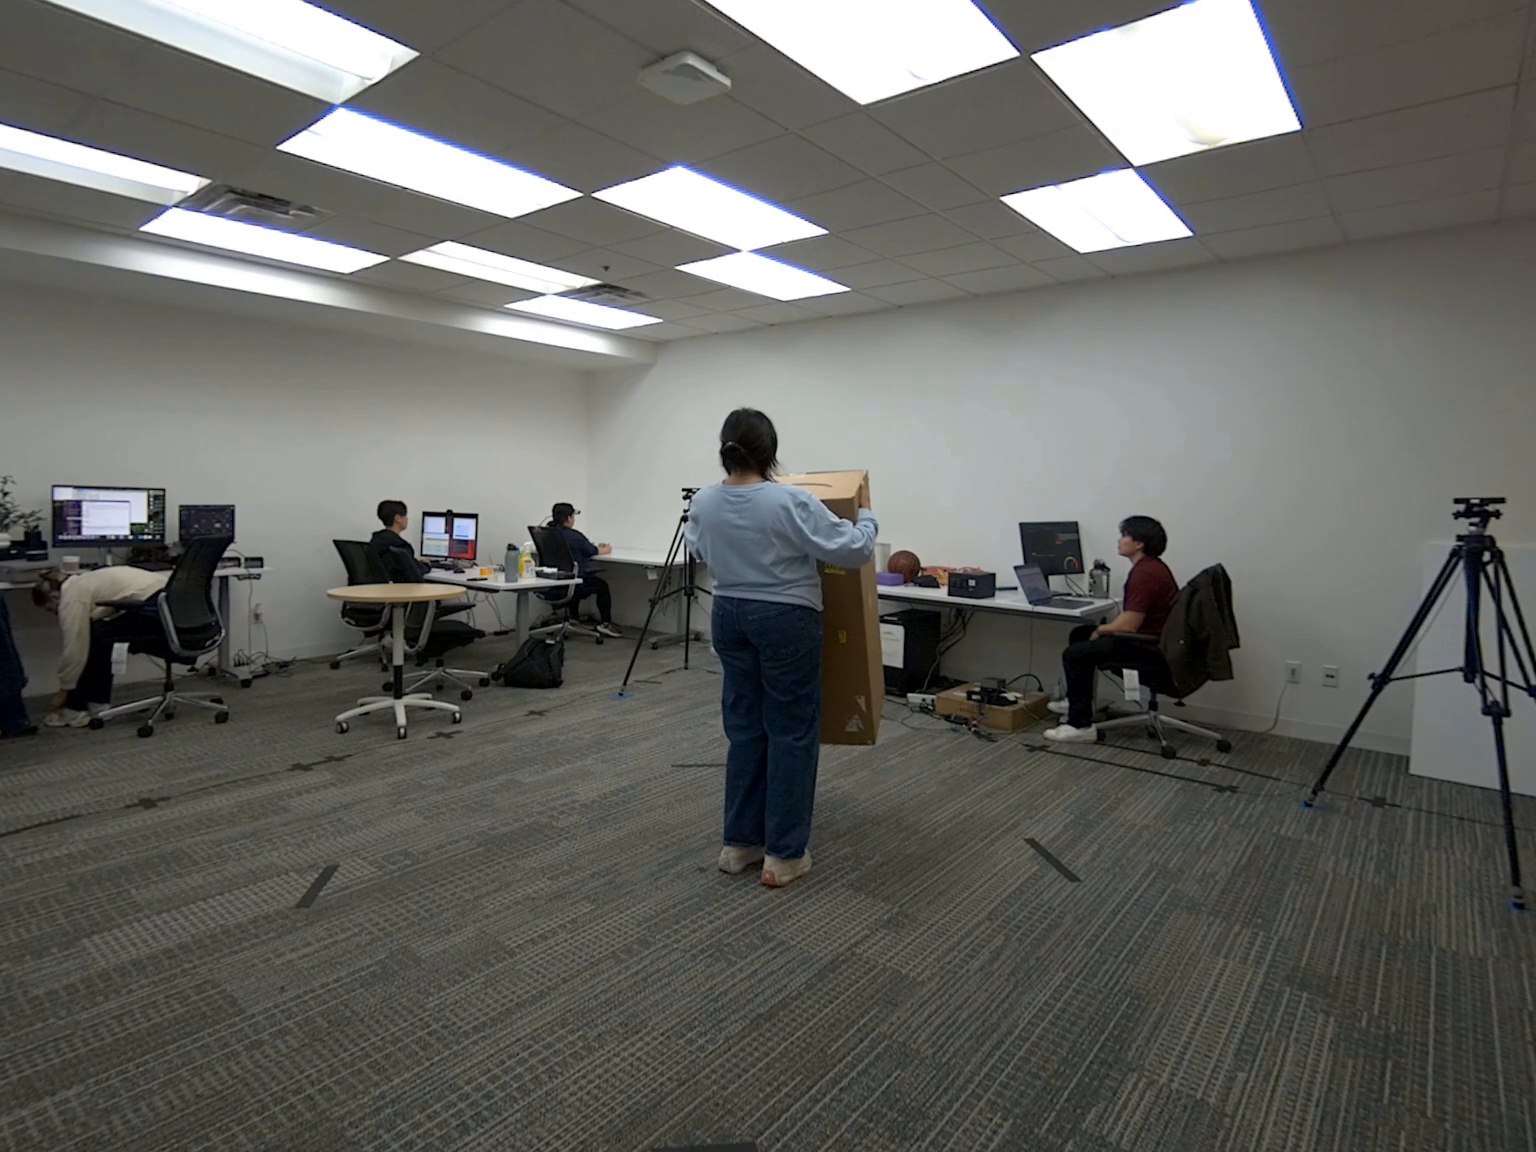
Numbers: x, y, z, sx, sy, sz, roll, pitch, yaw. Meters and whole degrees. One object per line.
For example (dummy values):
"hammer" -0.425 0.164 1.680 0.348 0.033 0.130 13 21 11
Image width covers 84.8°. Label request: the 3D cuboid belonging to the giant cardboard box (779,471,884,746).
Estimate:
"giant cardboard box" 0.127 0.128 3.493 0.595 1.009 0.446 -2 18 18
